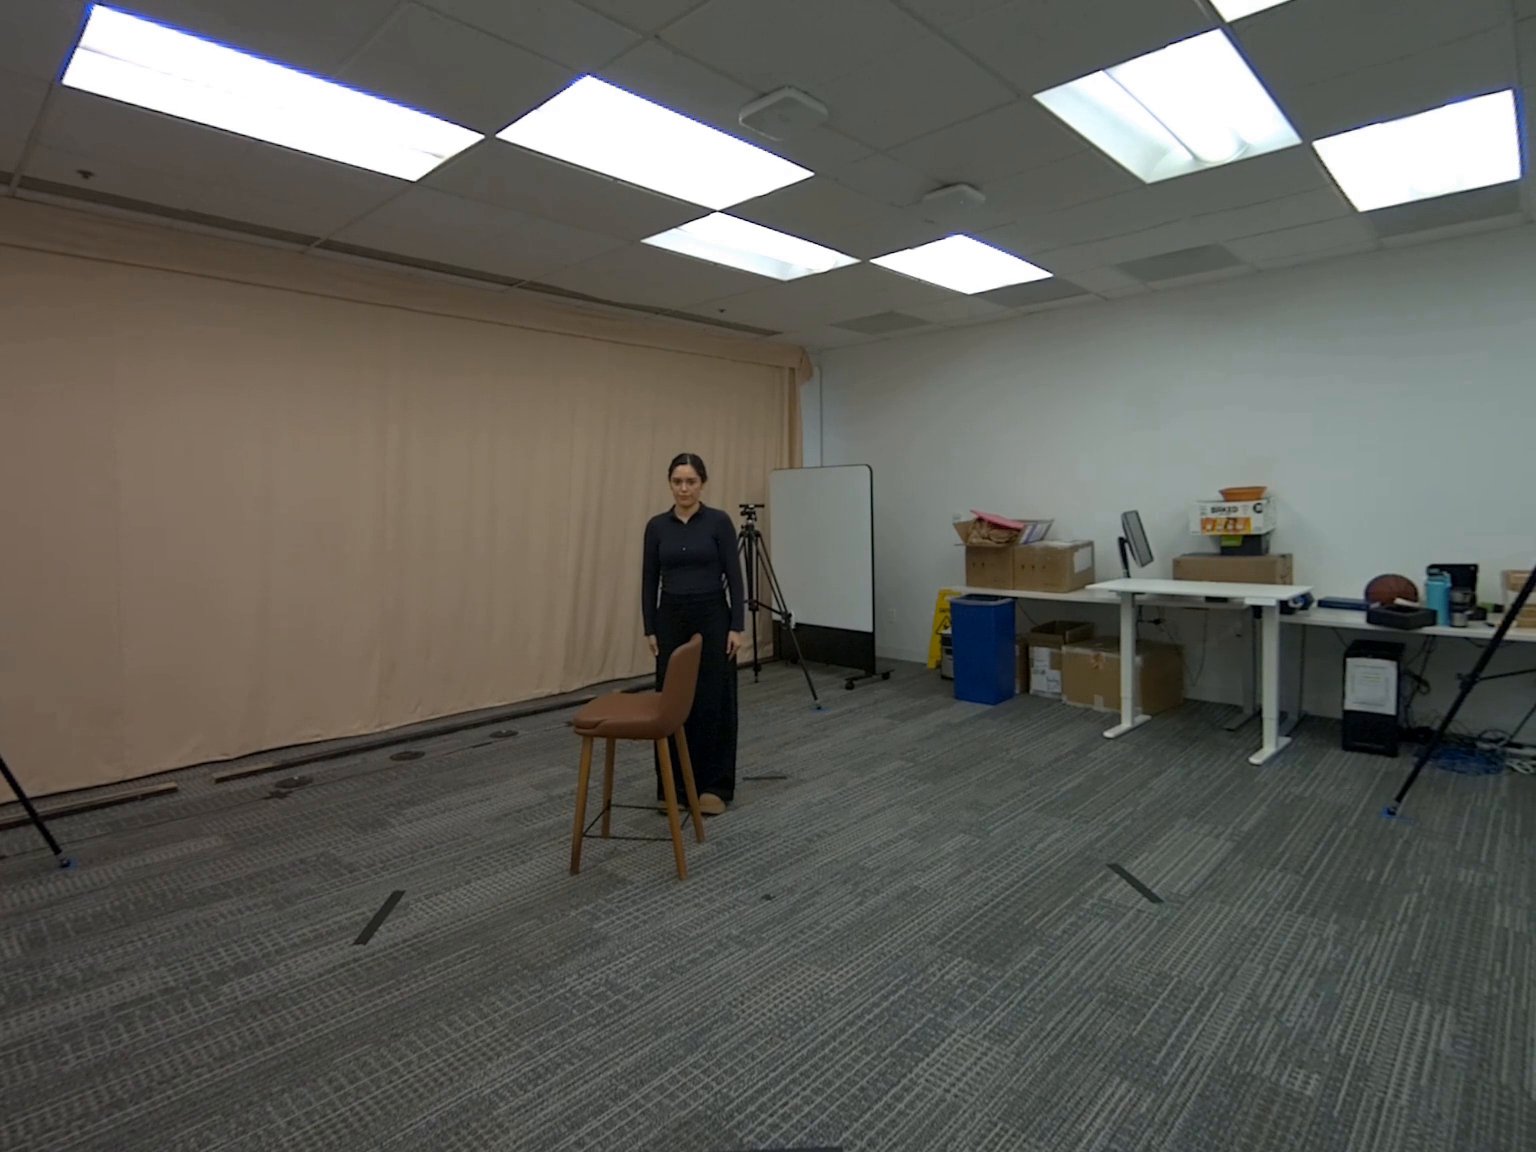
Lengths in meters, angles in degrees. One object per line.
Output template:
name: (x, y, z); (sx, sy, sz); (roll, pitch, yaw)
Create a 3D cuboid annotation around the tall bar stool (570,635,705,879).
tall bar stool: (-0.513, 0.687, 3.340); (0.473, 0.888, 0.452); (0, 3, 10)
